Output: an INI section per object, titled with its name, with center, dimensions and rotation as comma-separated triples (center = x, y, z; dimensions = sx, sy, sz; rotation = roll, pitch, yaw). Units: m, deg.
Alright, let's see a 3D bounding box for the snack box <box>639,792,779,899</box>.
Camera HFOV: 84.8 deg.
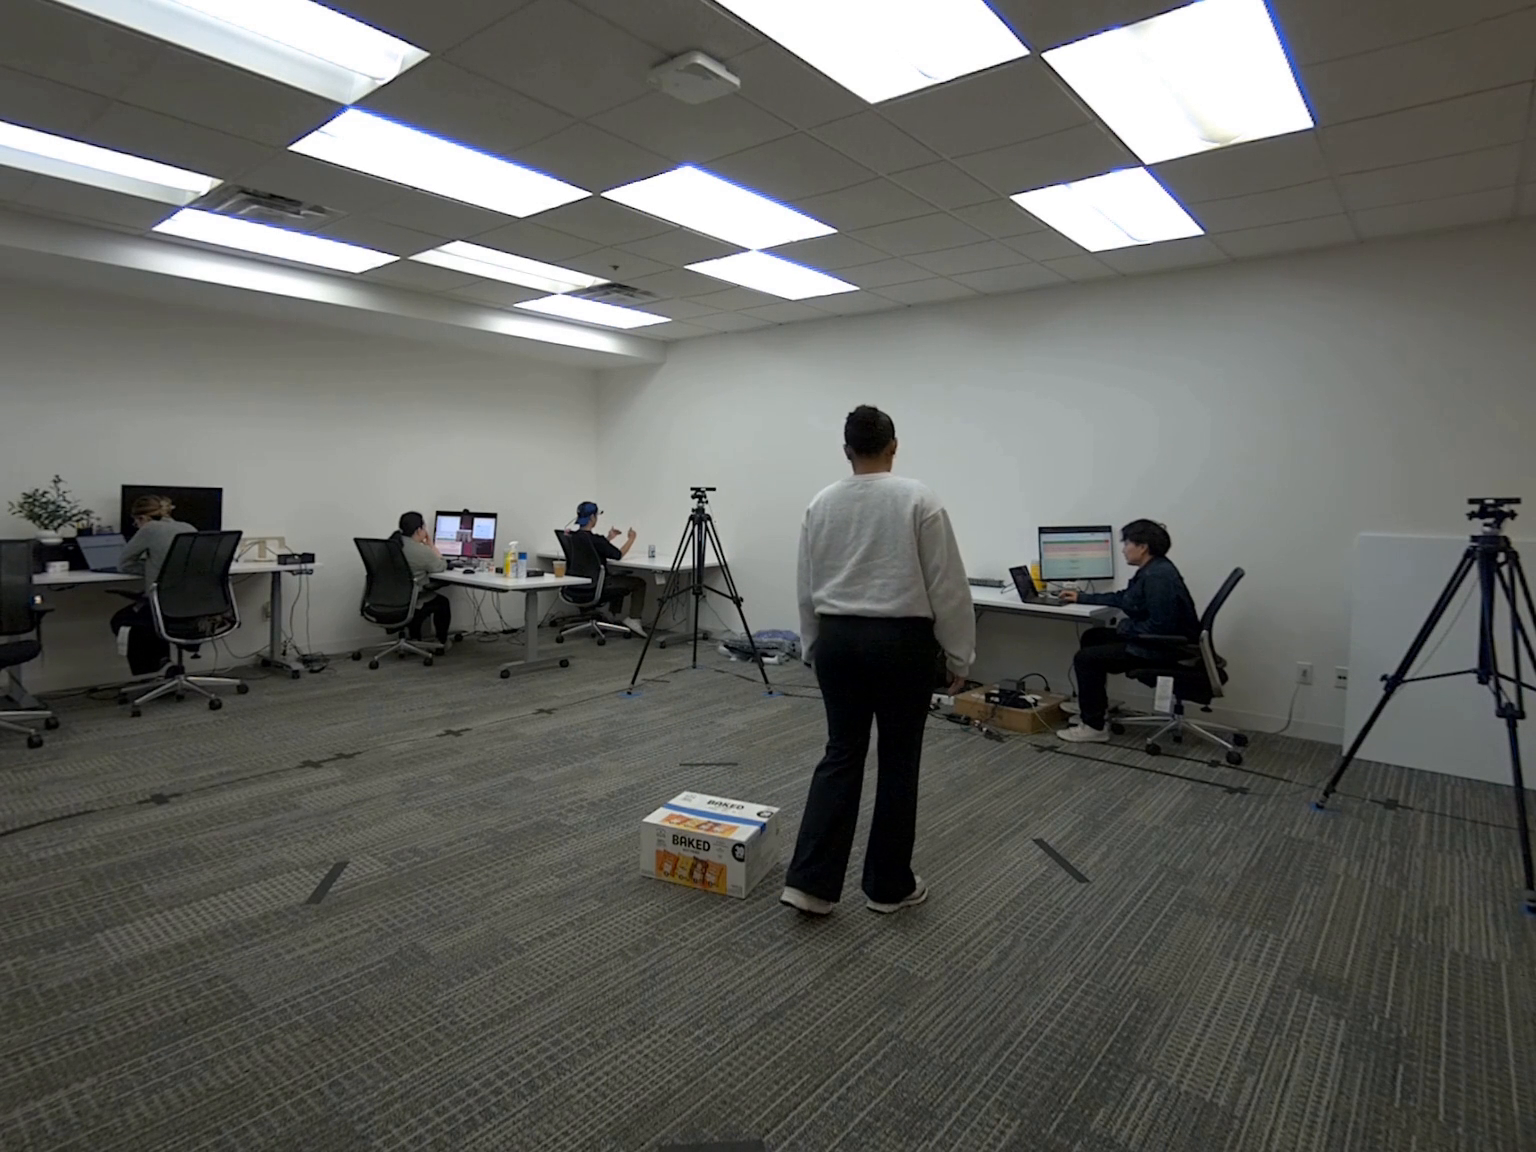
[snack box]
center = -0.215, 0.966, 3.098
dimensions = 0.415, 0.205, 0.333
rotation = 3, 5, 23
